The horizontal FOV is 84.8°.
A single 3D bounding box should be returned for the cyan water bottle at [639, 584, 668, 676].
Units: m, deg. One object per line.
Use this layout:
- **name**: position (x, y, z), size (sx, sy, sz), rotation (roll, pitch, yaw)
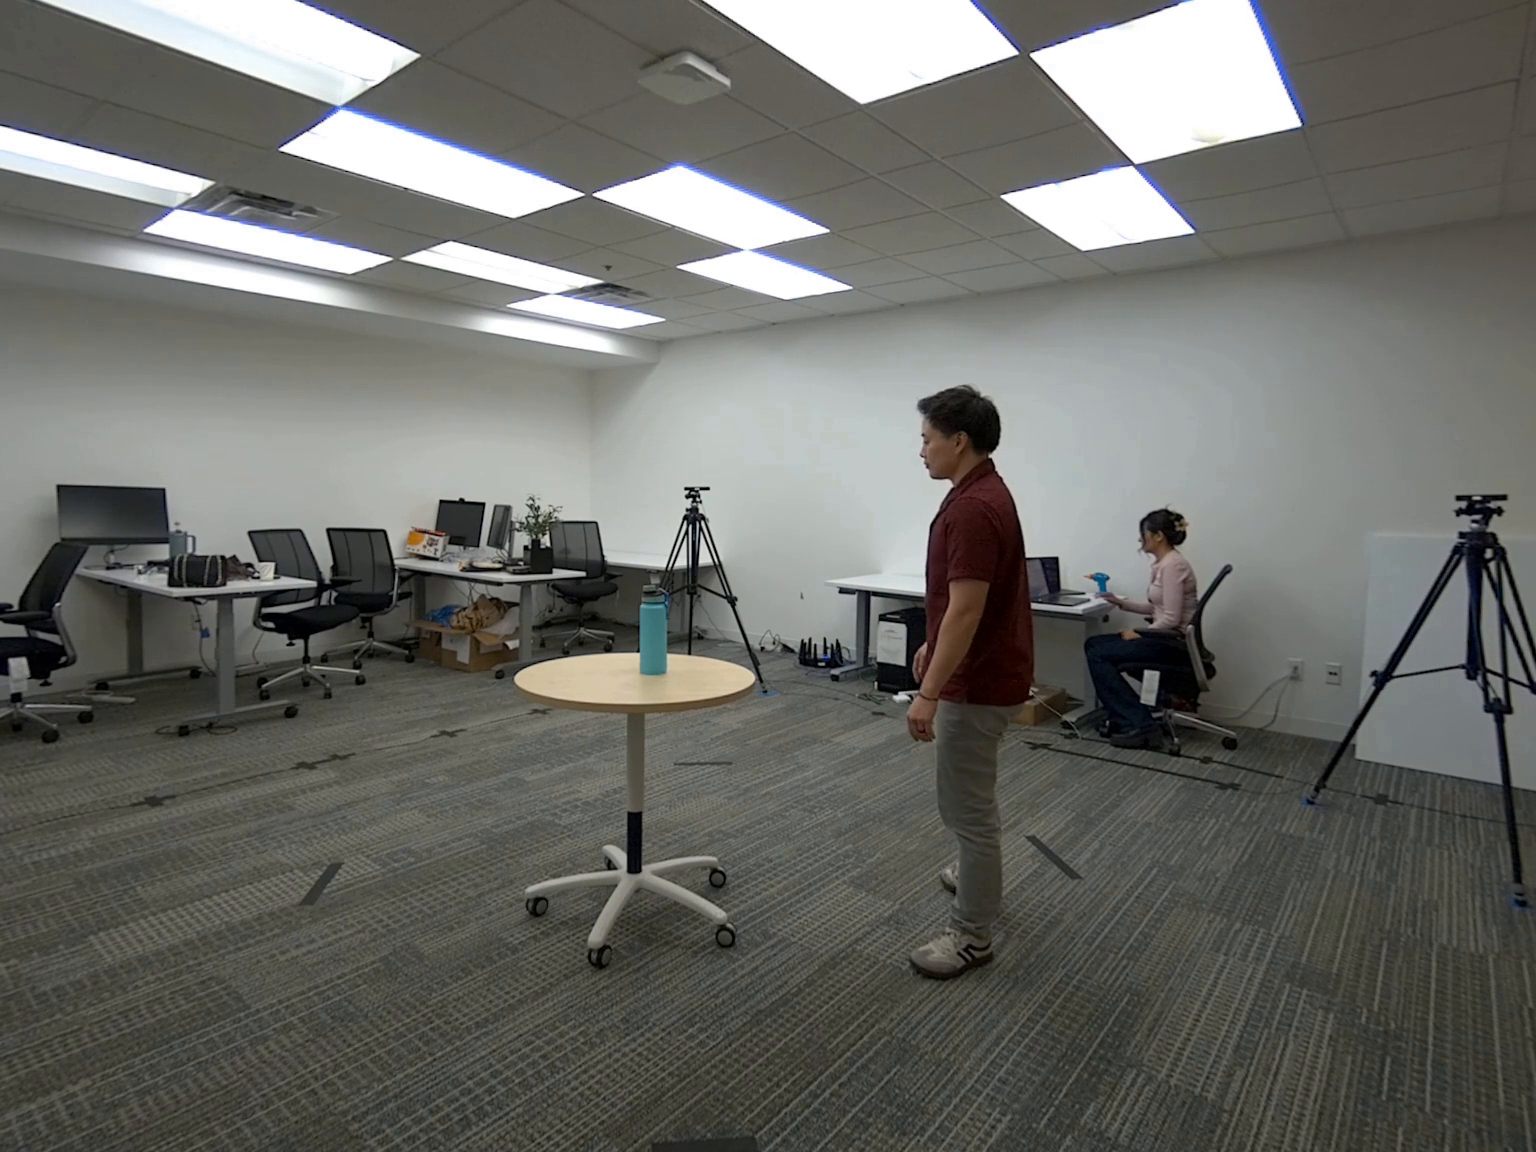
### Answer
- **cyan water bottle**: position (-0.384, 0.175, 2.776), size (0.092, 0.283, 0.092), rotation (2, 2, -2)
